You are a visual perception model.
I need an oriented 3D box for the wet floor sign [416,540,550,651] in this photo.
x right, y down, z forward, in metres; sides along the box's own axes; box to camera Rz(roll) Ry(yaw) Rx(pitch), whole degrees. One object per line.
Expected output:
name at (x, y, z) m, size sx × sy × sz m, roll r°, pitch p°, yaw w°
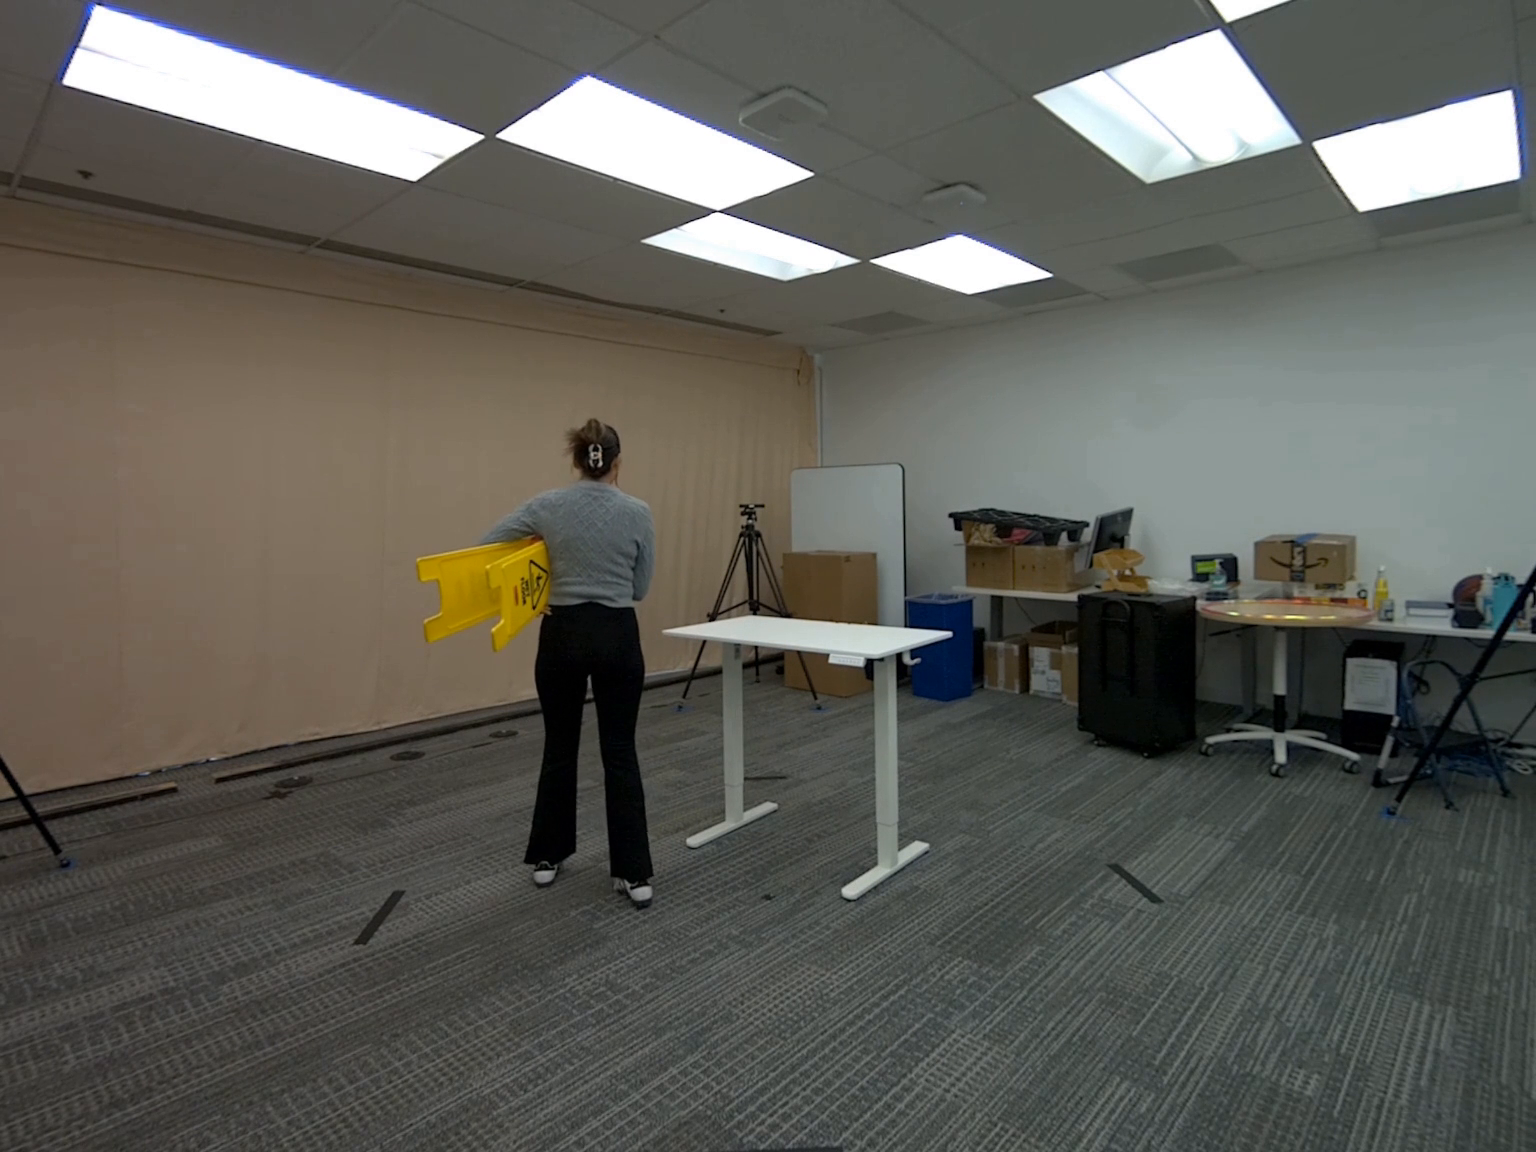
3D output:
wet floor sign at (-0.880, 0.018, 2.928) m, size 0.296 × 0.279 × 0.639 m, roll 3°, pitch 16°, yaw 18°
